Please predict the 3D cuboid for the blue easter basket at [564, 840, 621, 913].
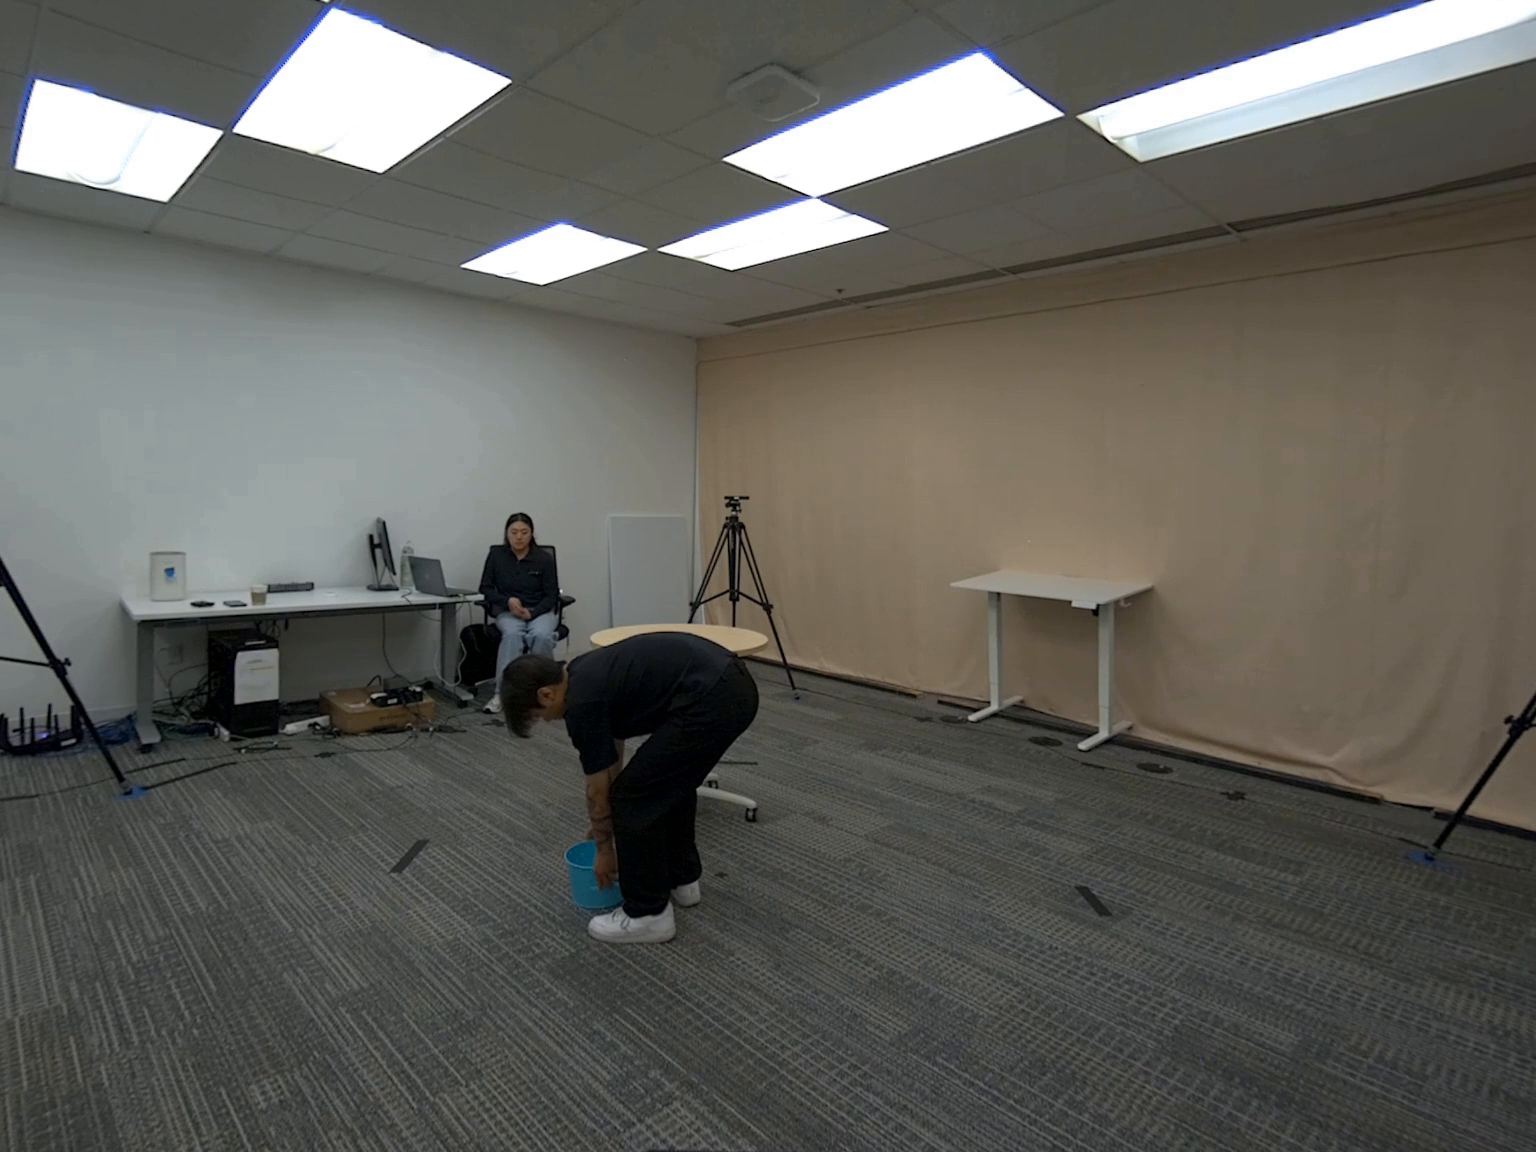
[{"bbox_3d":[-0.577,1.027,2.914,0.243,0.155,0.244,1,4,-1],"label":"blue easter basket"}]
